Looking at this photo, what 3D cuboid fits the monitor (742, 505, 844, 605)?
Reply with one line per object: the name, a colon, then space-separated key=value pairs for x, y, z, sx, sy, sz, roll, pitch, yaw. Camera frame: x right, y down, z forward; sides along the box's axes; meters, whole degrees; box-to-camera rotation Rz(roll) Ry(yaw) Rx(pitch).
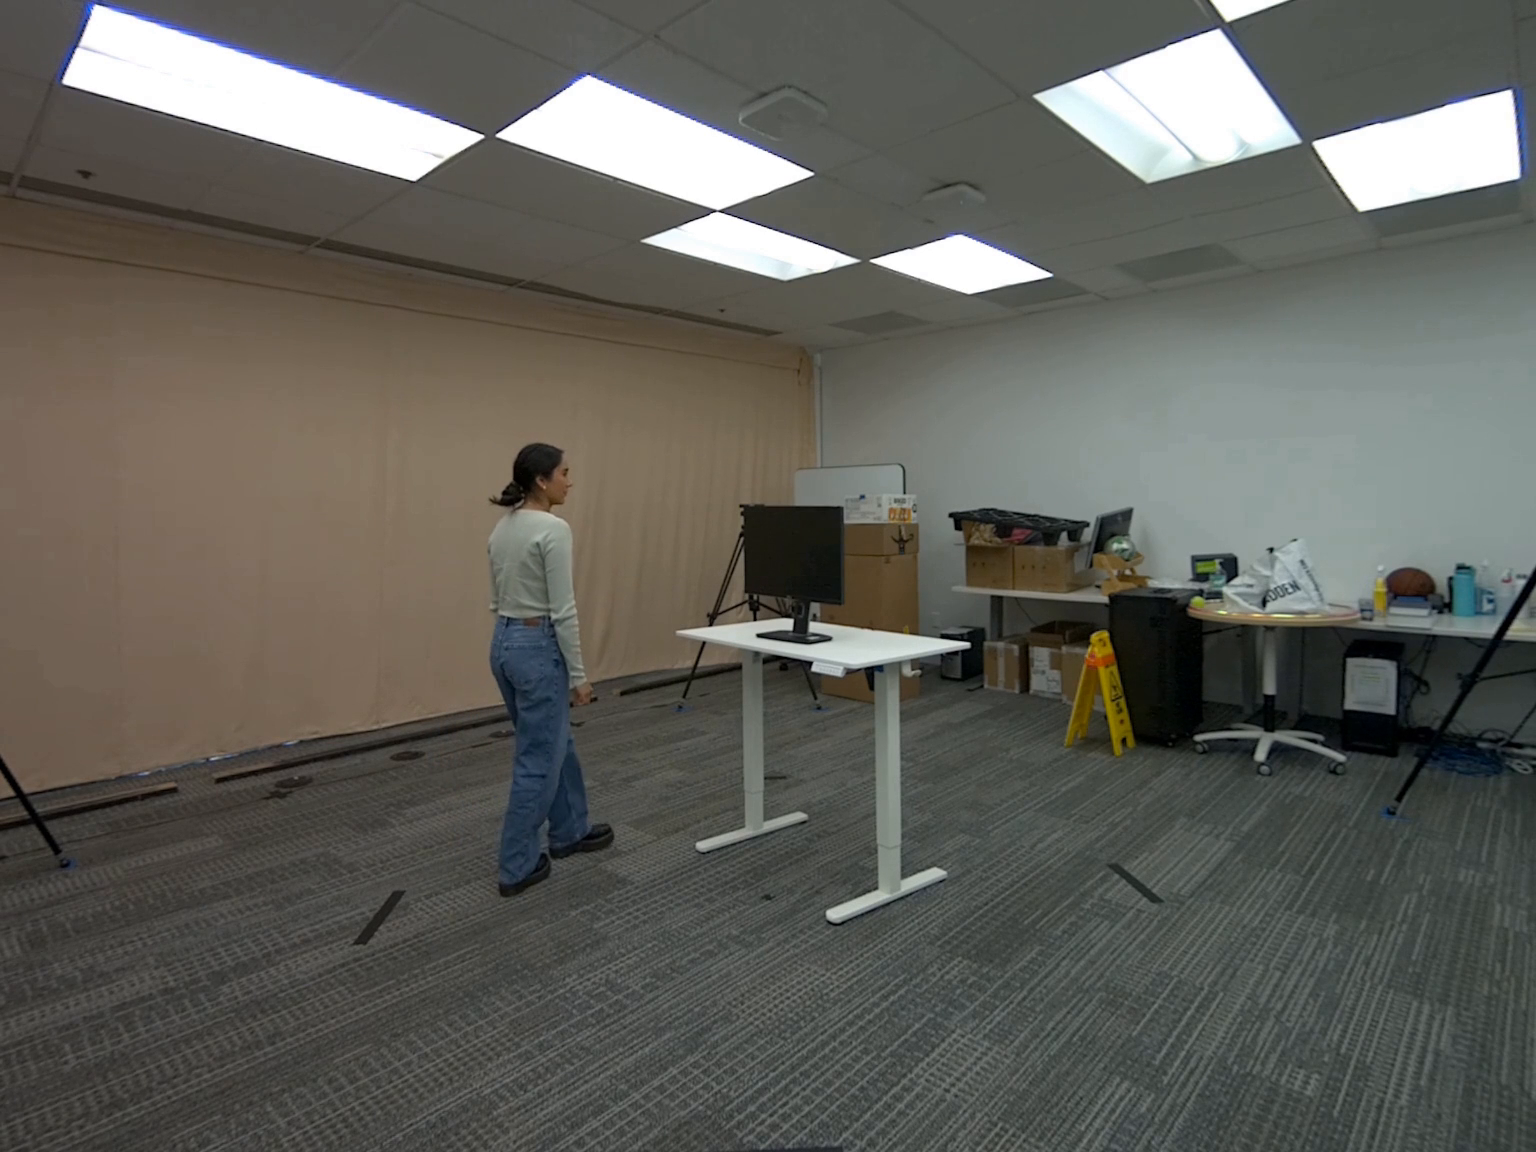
monitor: x=0.109 y=-0.006 z=3.185 sx=0.182 sy=0.520 sz=0.557 roll=-10 pitch=10 yaw=-42
